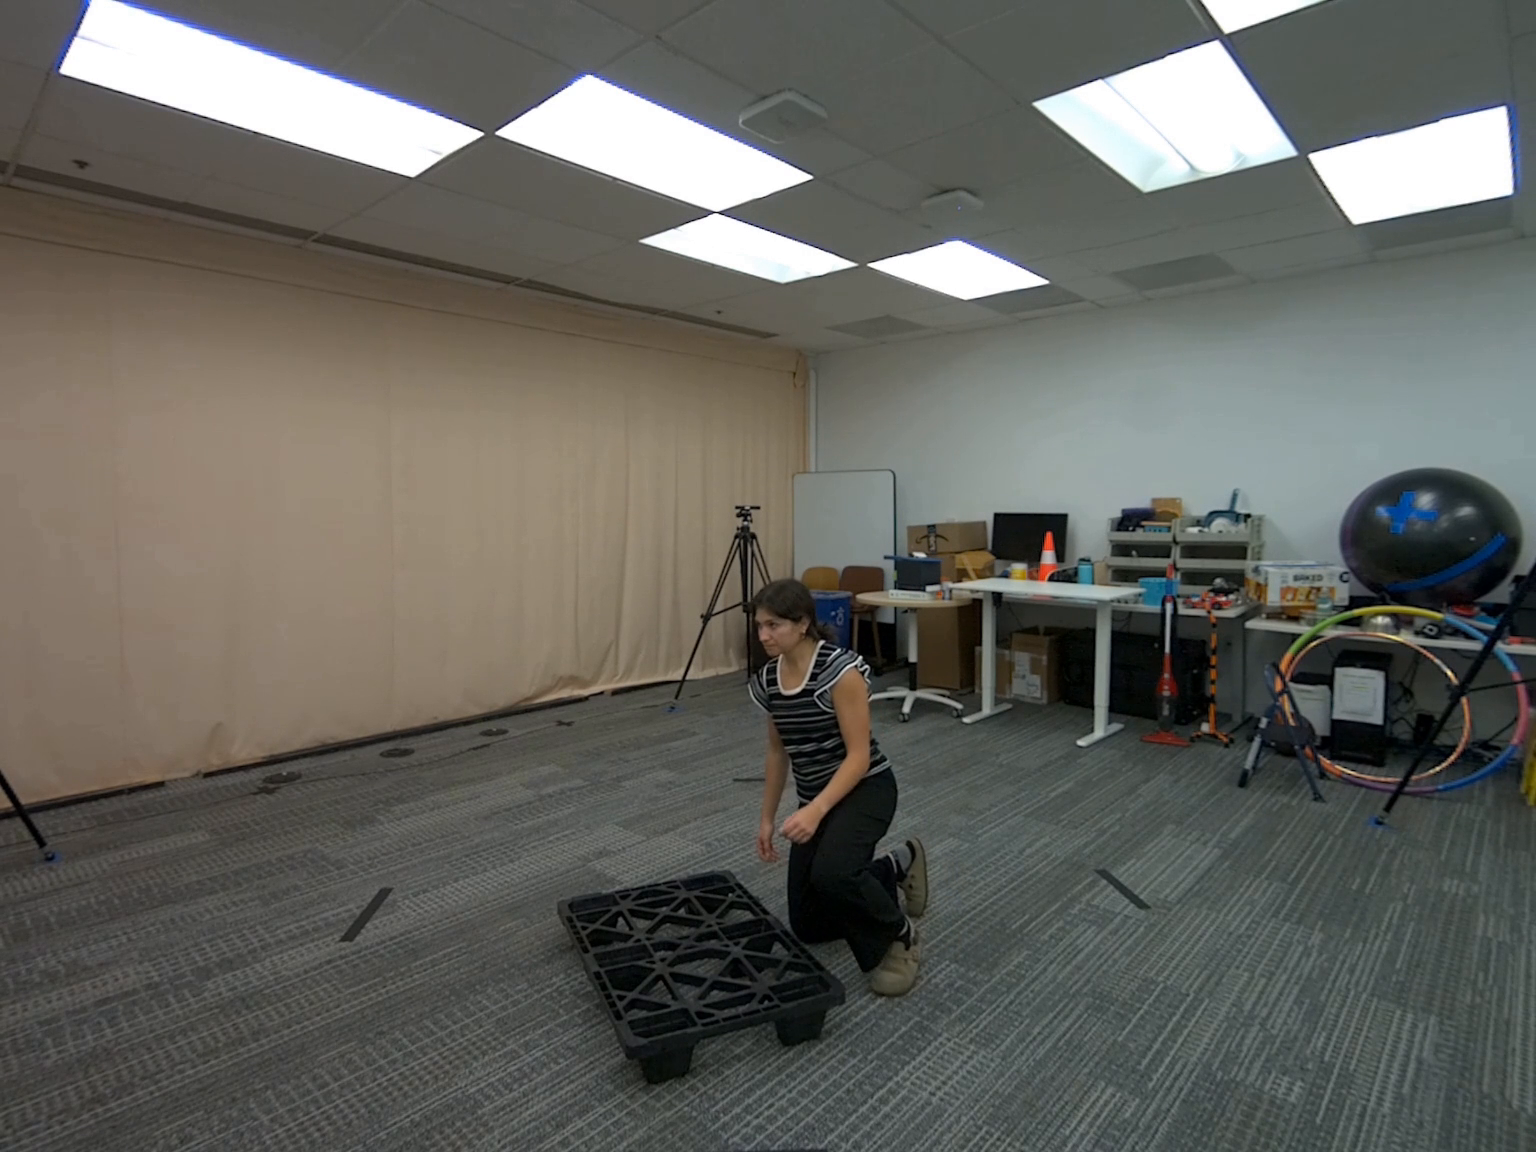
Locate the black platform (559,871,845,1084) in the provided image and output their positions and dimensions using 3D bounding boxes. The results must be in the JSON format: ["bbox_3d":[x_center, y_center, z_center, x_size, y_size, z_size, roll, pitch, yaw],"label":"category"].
[{"bbox_3d":[-0.233,1.125,2.439,0.592,0.143,0.826,-3,5,-24],"label":"black platform"}]
